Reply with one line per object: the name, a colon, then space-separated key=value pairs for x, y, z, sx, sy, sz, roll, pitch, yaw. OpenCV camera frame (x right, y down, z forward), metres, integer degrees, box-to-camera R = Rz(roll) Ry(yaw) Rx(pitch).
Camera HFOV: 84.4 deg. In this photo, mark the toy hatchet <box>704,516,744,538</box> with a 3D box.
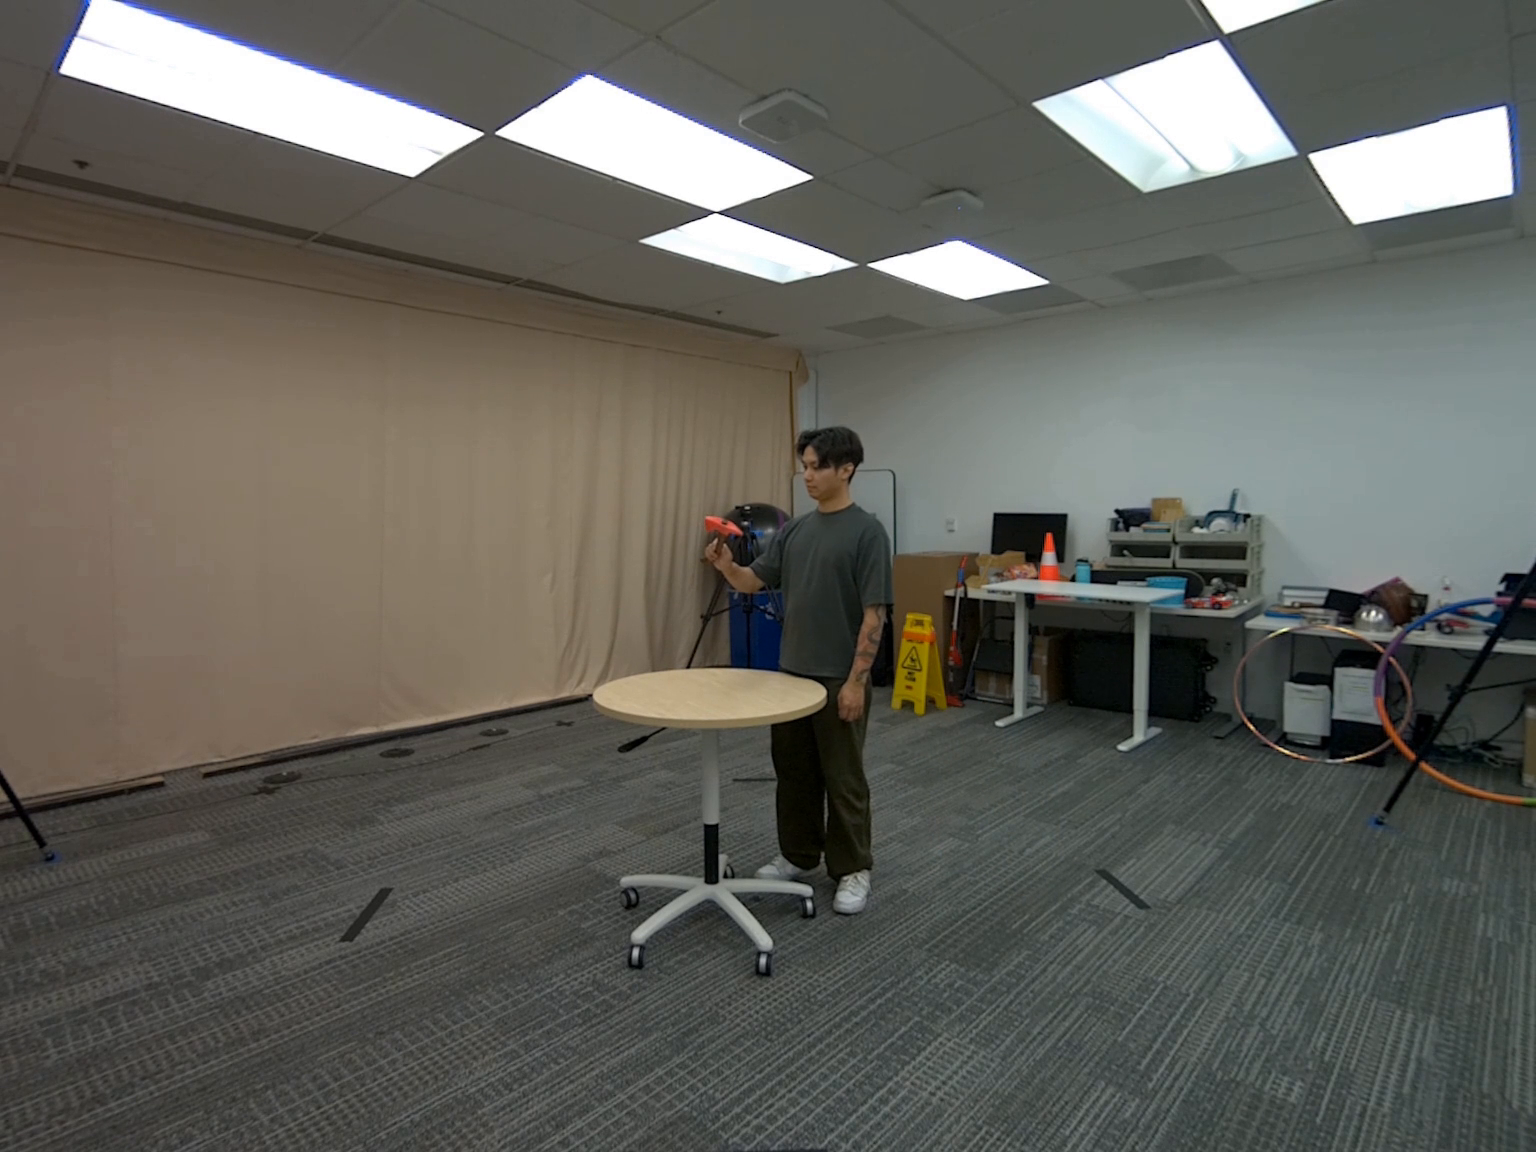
toy hatchet: x=-0.190 y=-0.122 z=2.865 sx=0.129 sy=0.030 sz=0.273 roll=32 pitch=-35 yaw=-11
